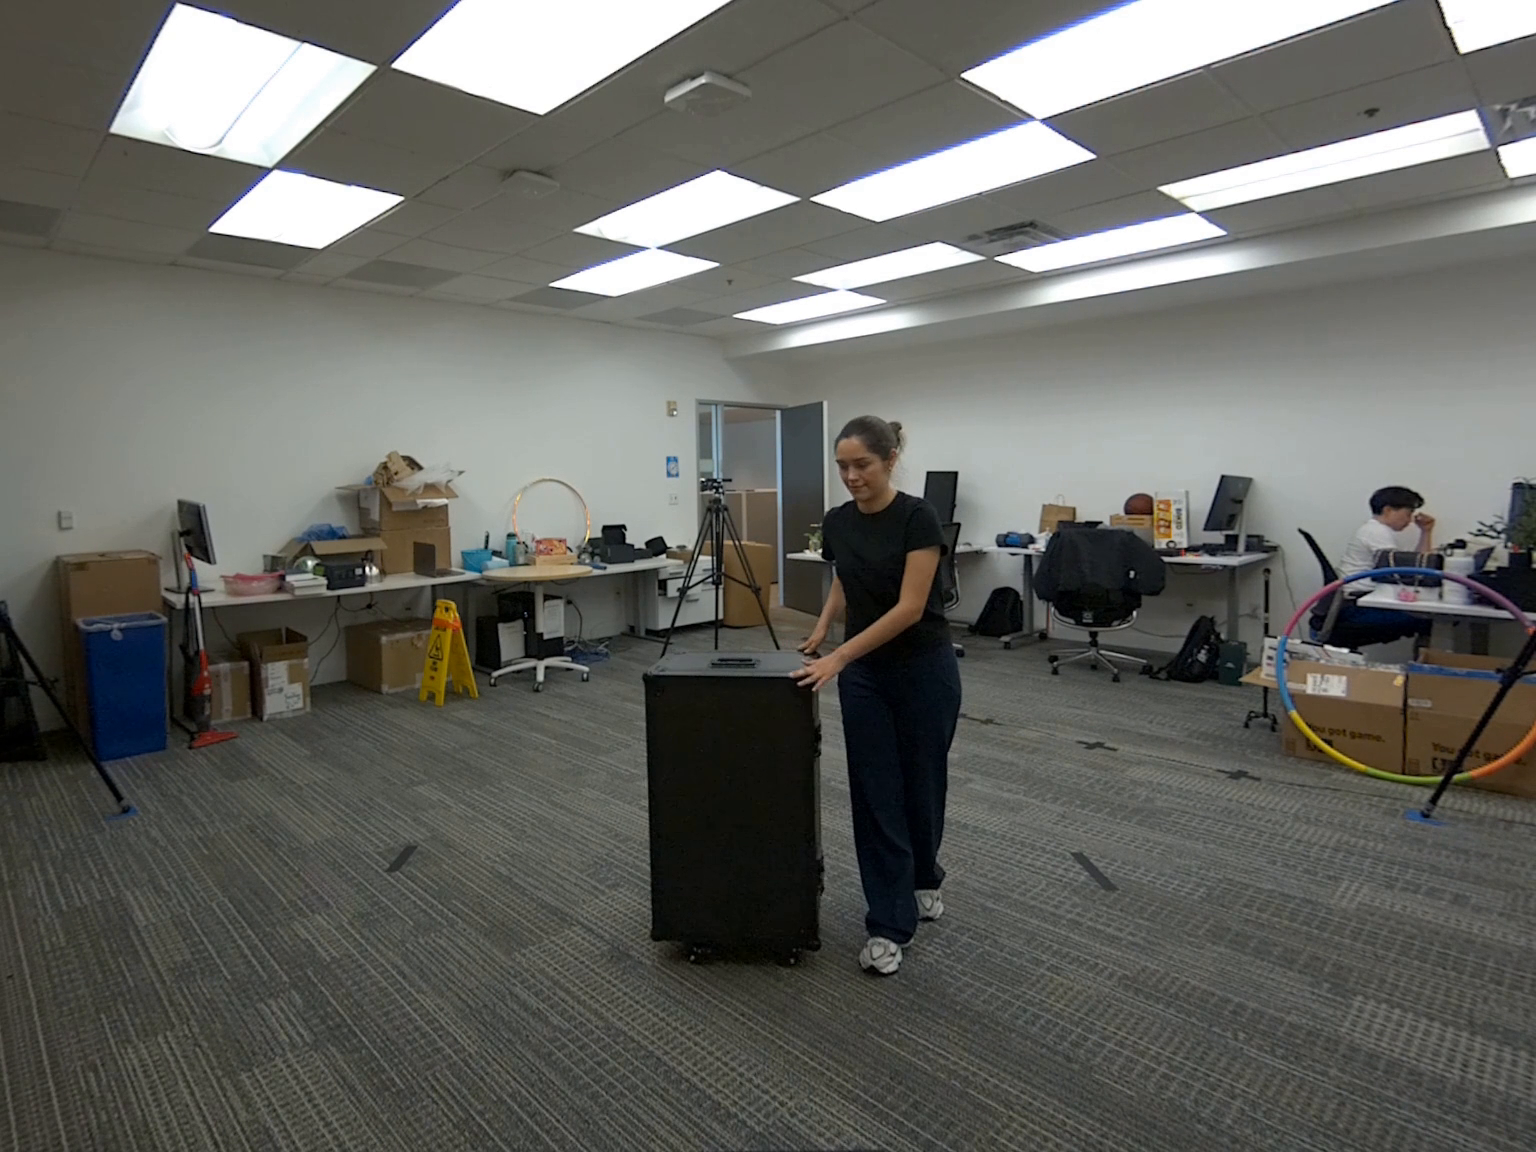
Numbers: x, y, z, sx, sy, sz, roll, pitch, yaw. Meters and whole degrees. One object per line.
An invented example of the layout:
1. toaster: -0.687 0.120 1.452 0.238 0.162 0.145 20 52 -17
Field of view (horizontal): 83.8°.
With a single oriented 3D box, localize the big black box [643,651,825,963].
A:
1. big black box: -0.090 0.680 2.605 0.526 0.859 0.394 -1 3 9
